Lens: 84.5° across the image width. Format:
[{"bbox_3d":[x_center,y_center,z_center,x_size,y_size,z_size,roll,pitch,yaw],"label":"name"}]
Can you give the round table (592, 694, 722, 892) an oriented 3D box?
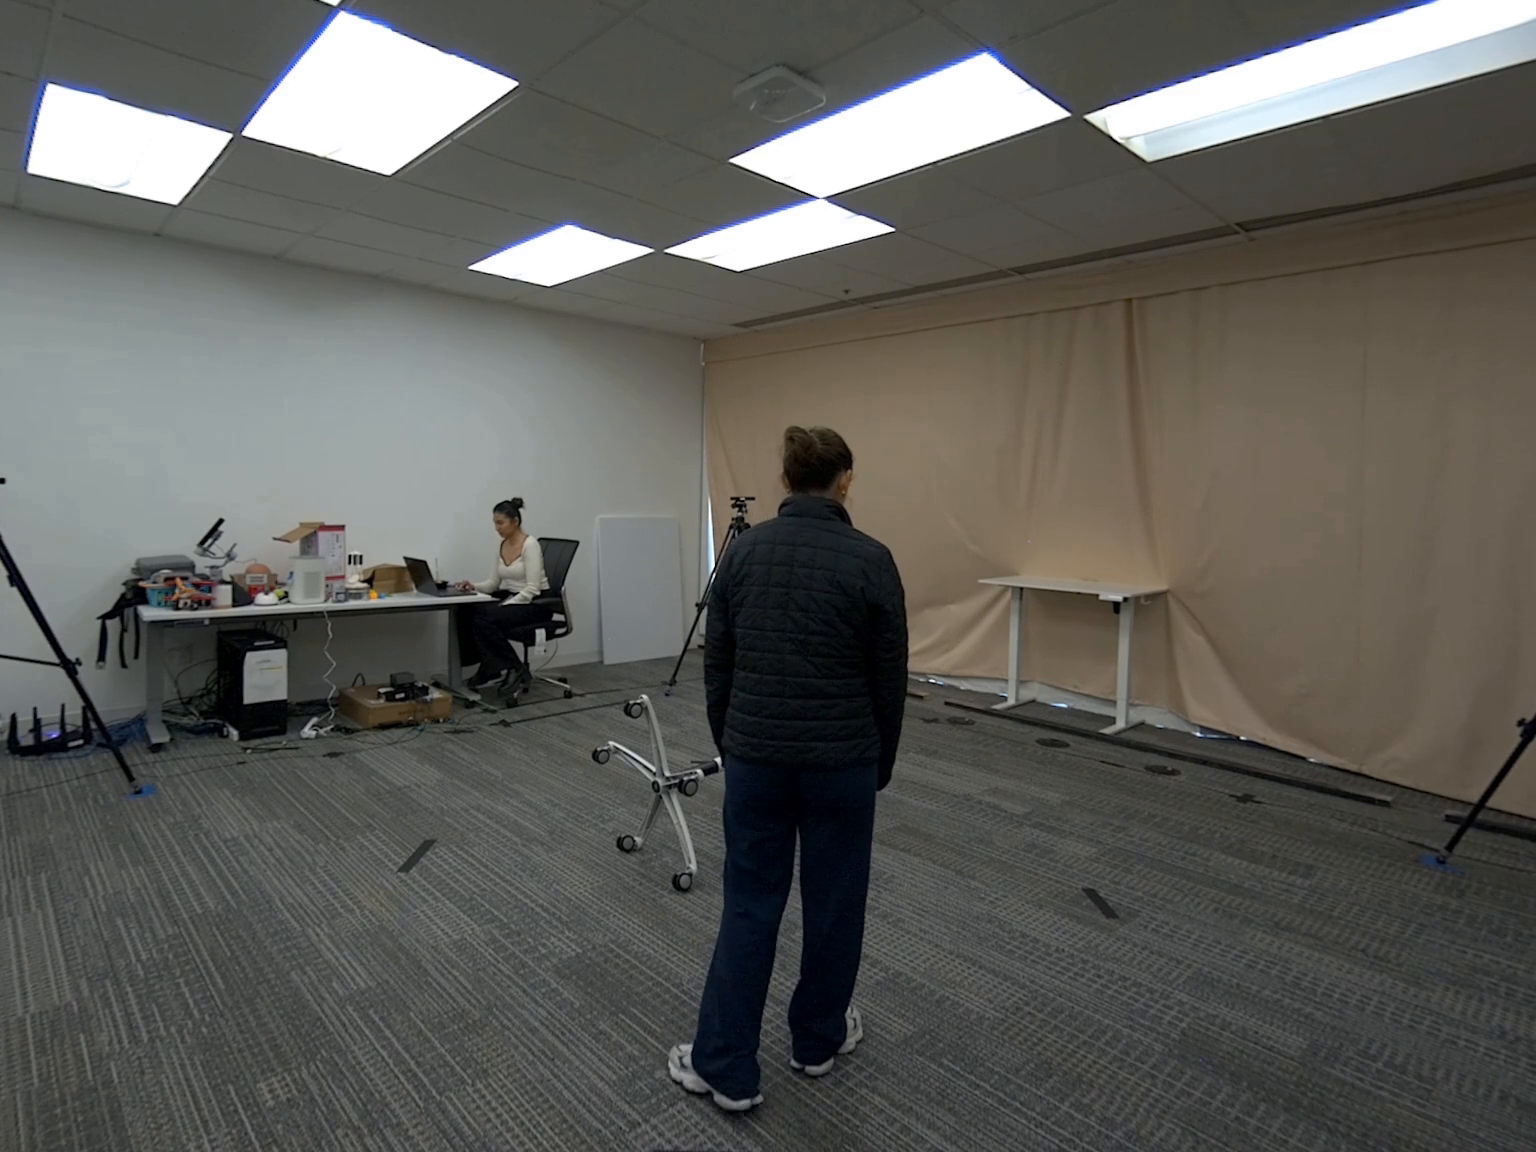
[{"bbox_3d":[-0.186,0.752,3.336,0.771,0.781,0.805,-8,9,-38],"label":"round table"}]
